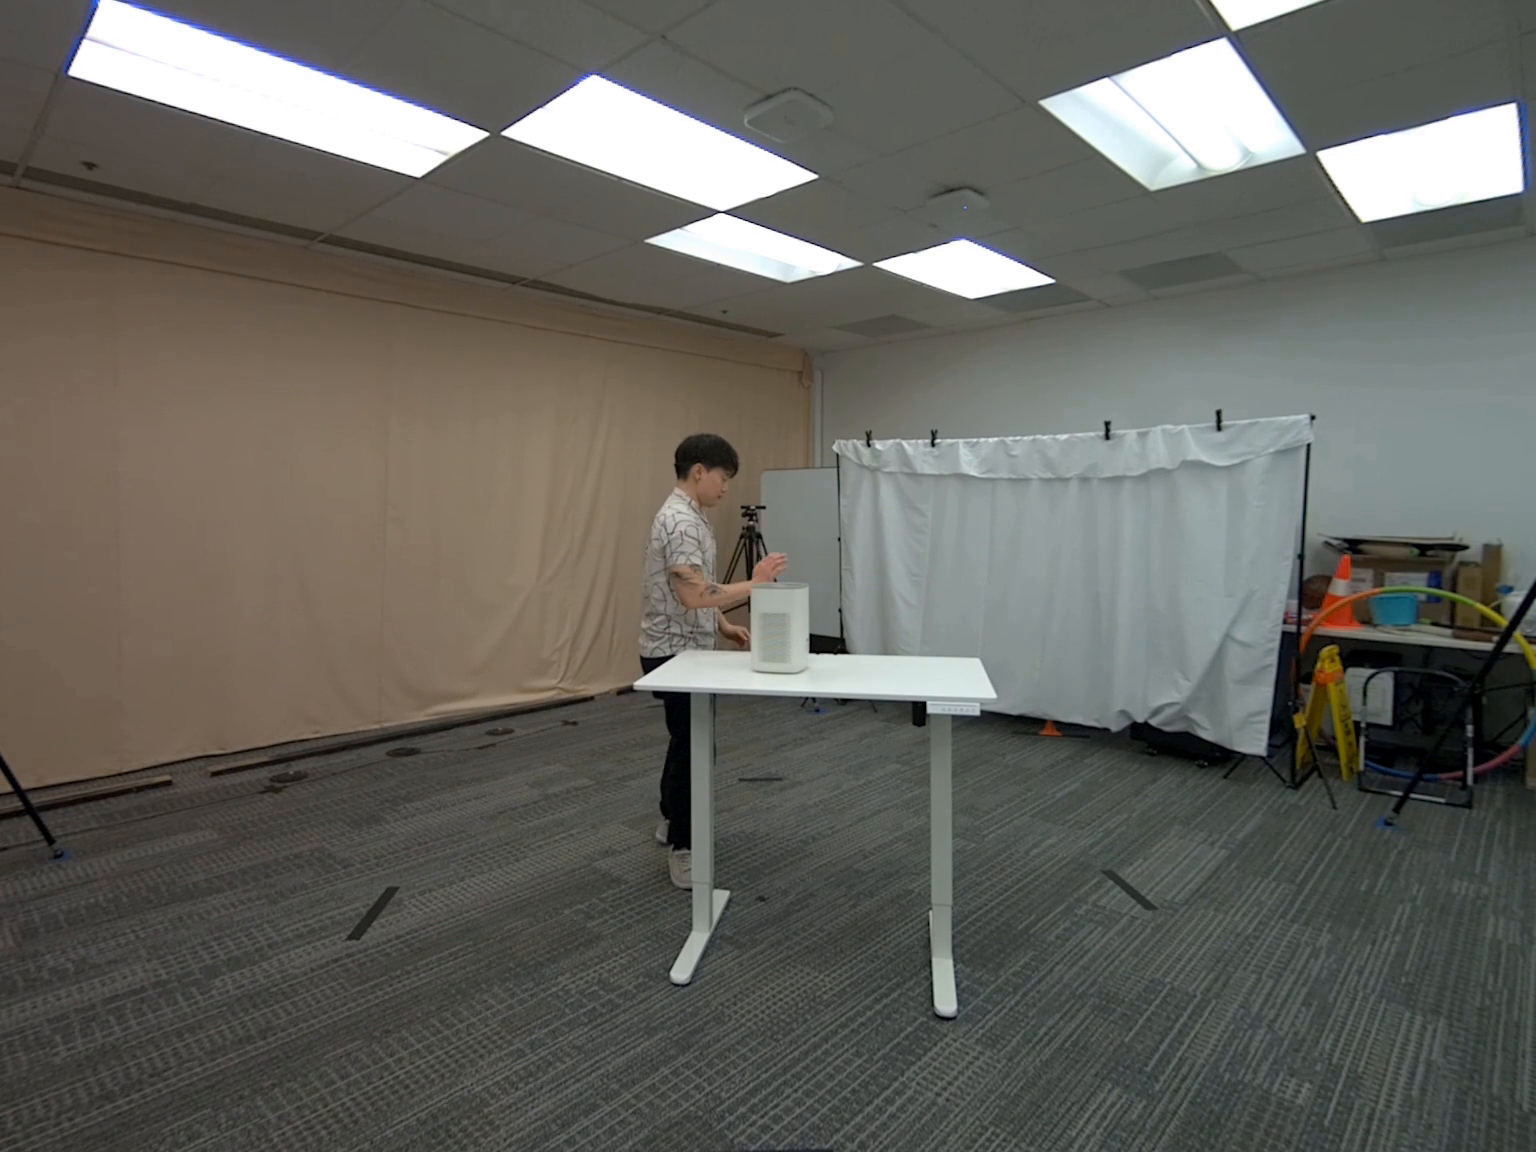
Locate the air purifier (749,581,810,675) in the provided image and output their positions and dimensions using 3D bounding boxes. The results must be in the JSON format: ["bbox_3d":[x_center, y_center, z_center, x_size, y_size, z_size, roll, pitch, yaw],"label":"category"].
[{"bbox_3d":[0.045,0.163,2.610,0.174,0.265,0.169,0,3,11],"label":"air purifier"}]
